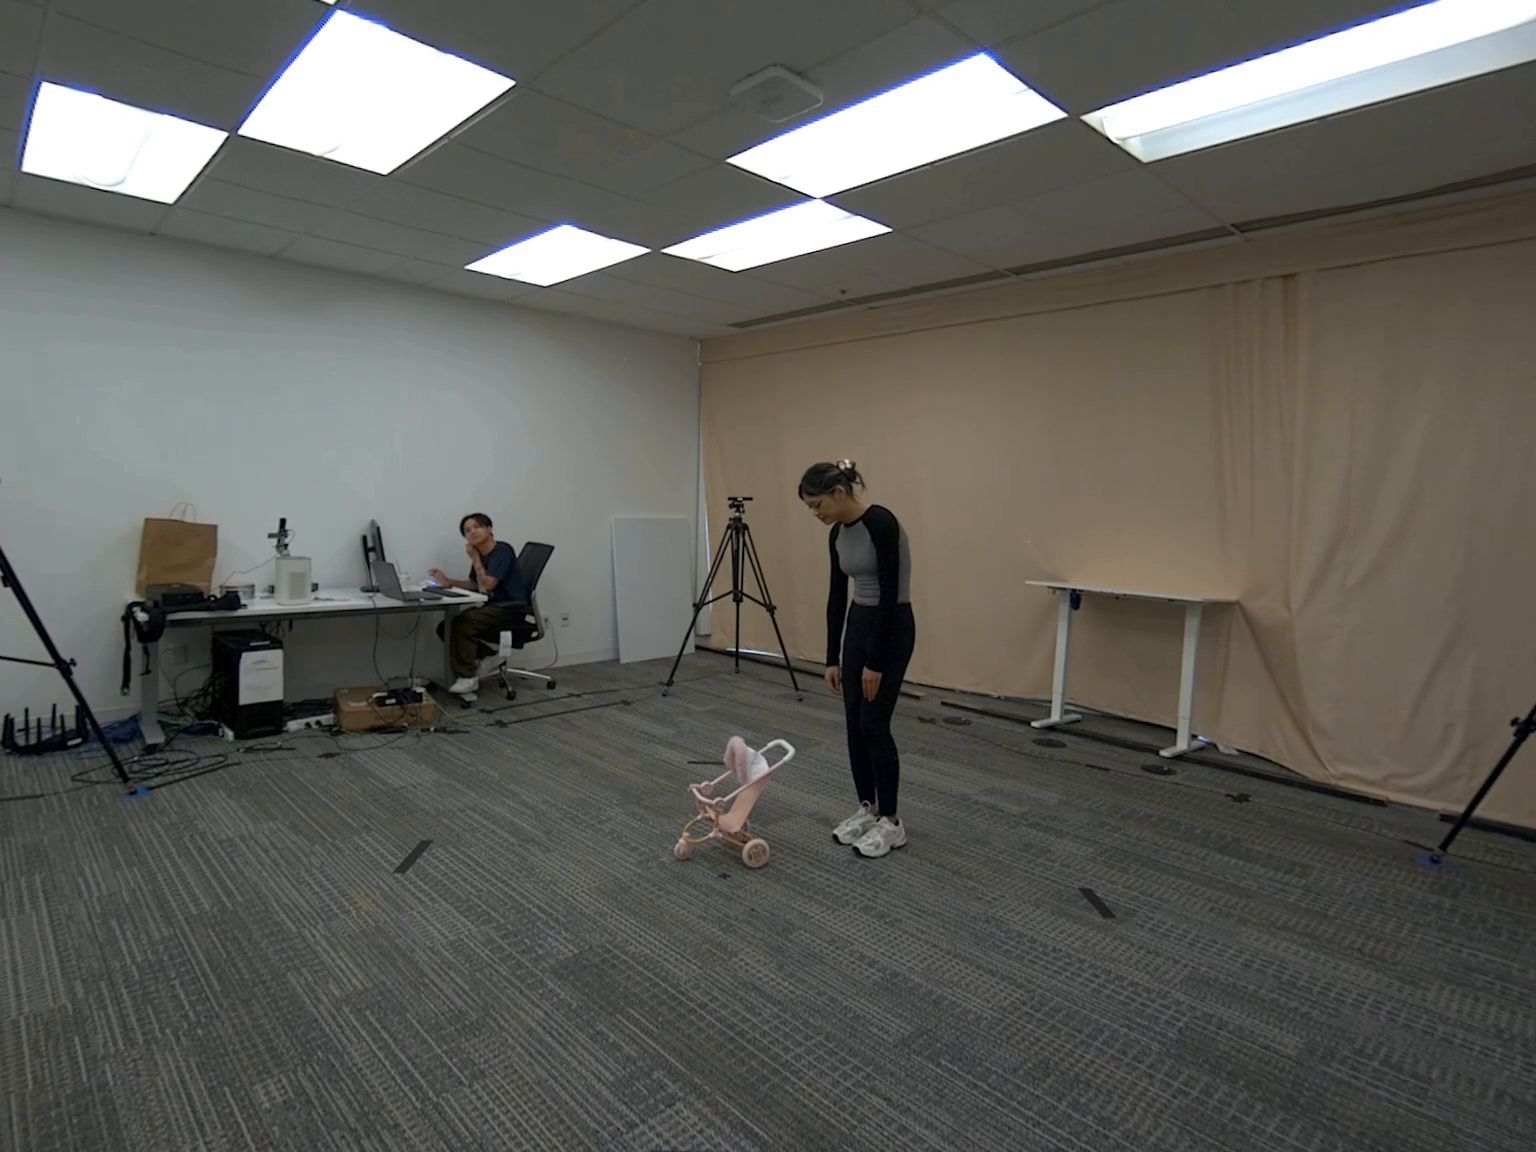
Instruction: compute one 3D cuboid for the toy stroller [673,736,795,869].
[{"bbox_3d":[-0.151,0.866,3.278,0.337,0.535,0.285,17,-1,-14],"label":"toy stroller"}]
